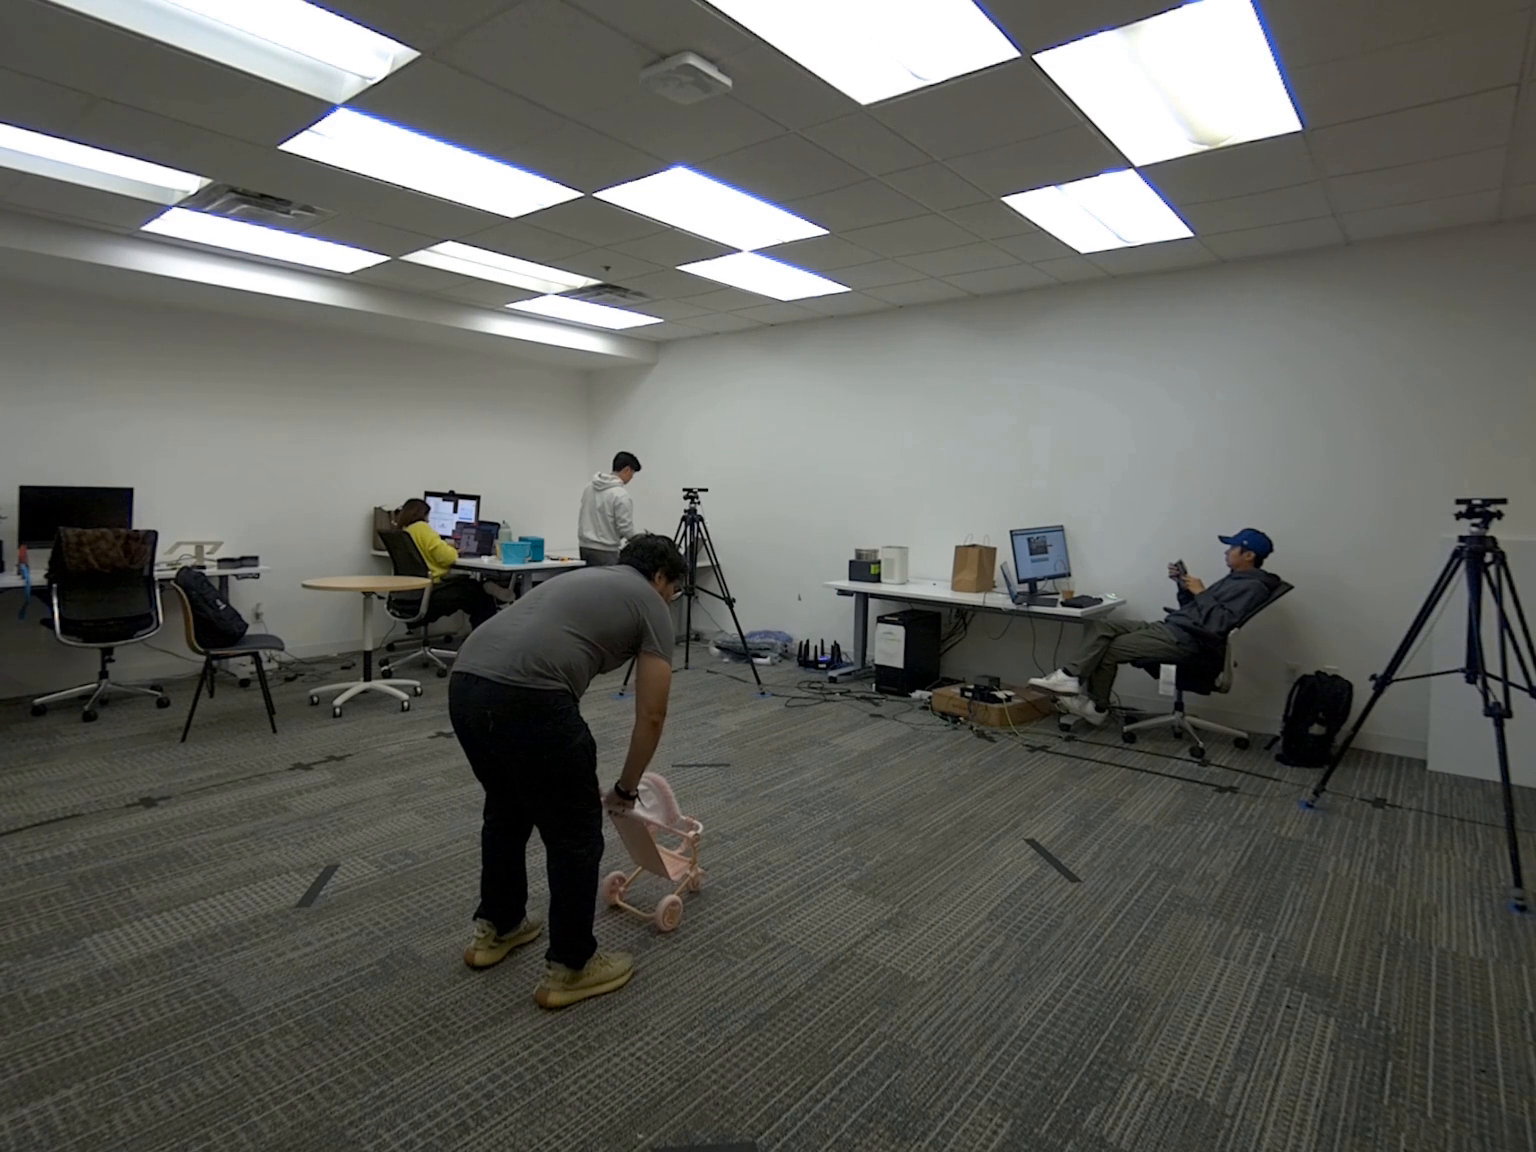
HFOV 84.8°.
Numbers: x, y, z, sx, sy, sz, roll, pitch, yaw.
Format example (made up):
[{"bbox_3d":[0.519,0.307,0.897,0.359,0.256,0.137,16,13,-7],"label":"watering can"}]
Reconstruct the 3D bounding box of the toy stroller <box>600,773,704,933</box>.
[{"bbox_3d":[-0.374,0.873,2.787,0.291,0.526,0.335,5,21,43],"label":"toy stroller"}]
